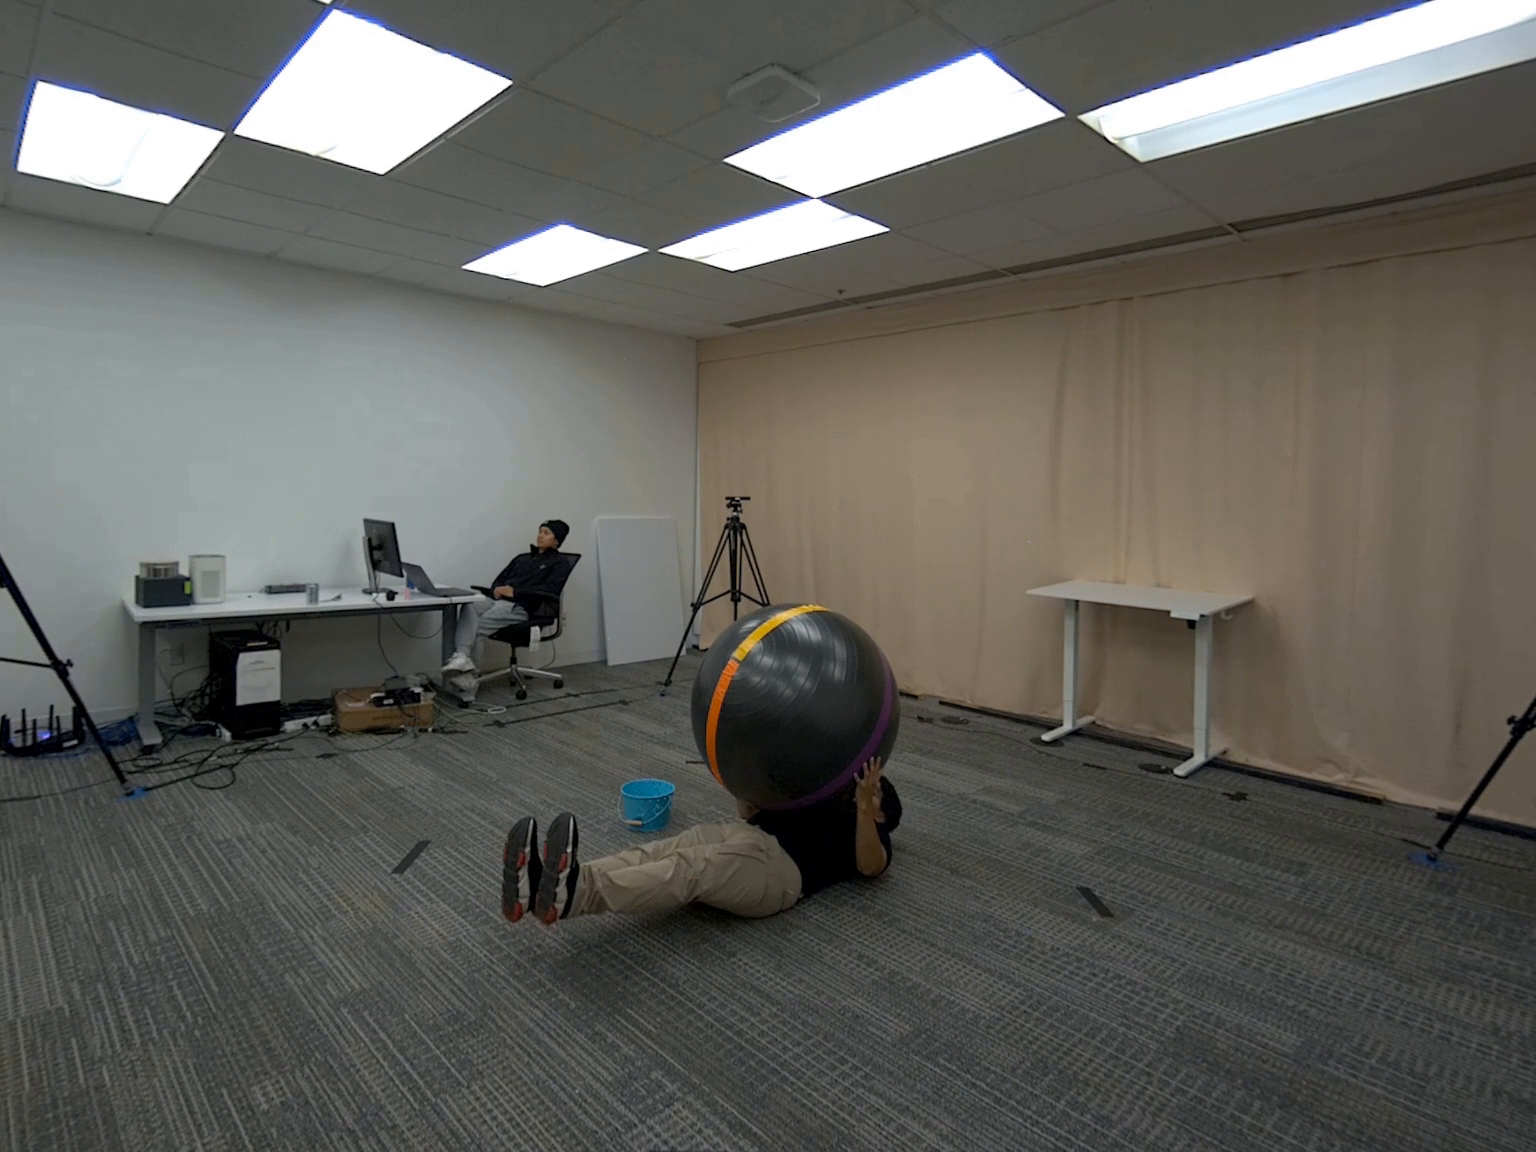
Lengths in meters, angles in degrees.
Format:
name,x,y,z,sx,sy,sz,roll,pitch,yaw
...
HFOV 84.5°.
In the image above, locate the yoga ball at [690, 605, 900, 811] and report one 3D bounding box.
name,x,y,z,sx,sy,sz,roll,pitch,yaw
yoga ball,0.090,0.481,3.063,0.757,0.755,0.761,1,5,-1
